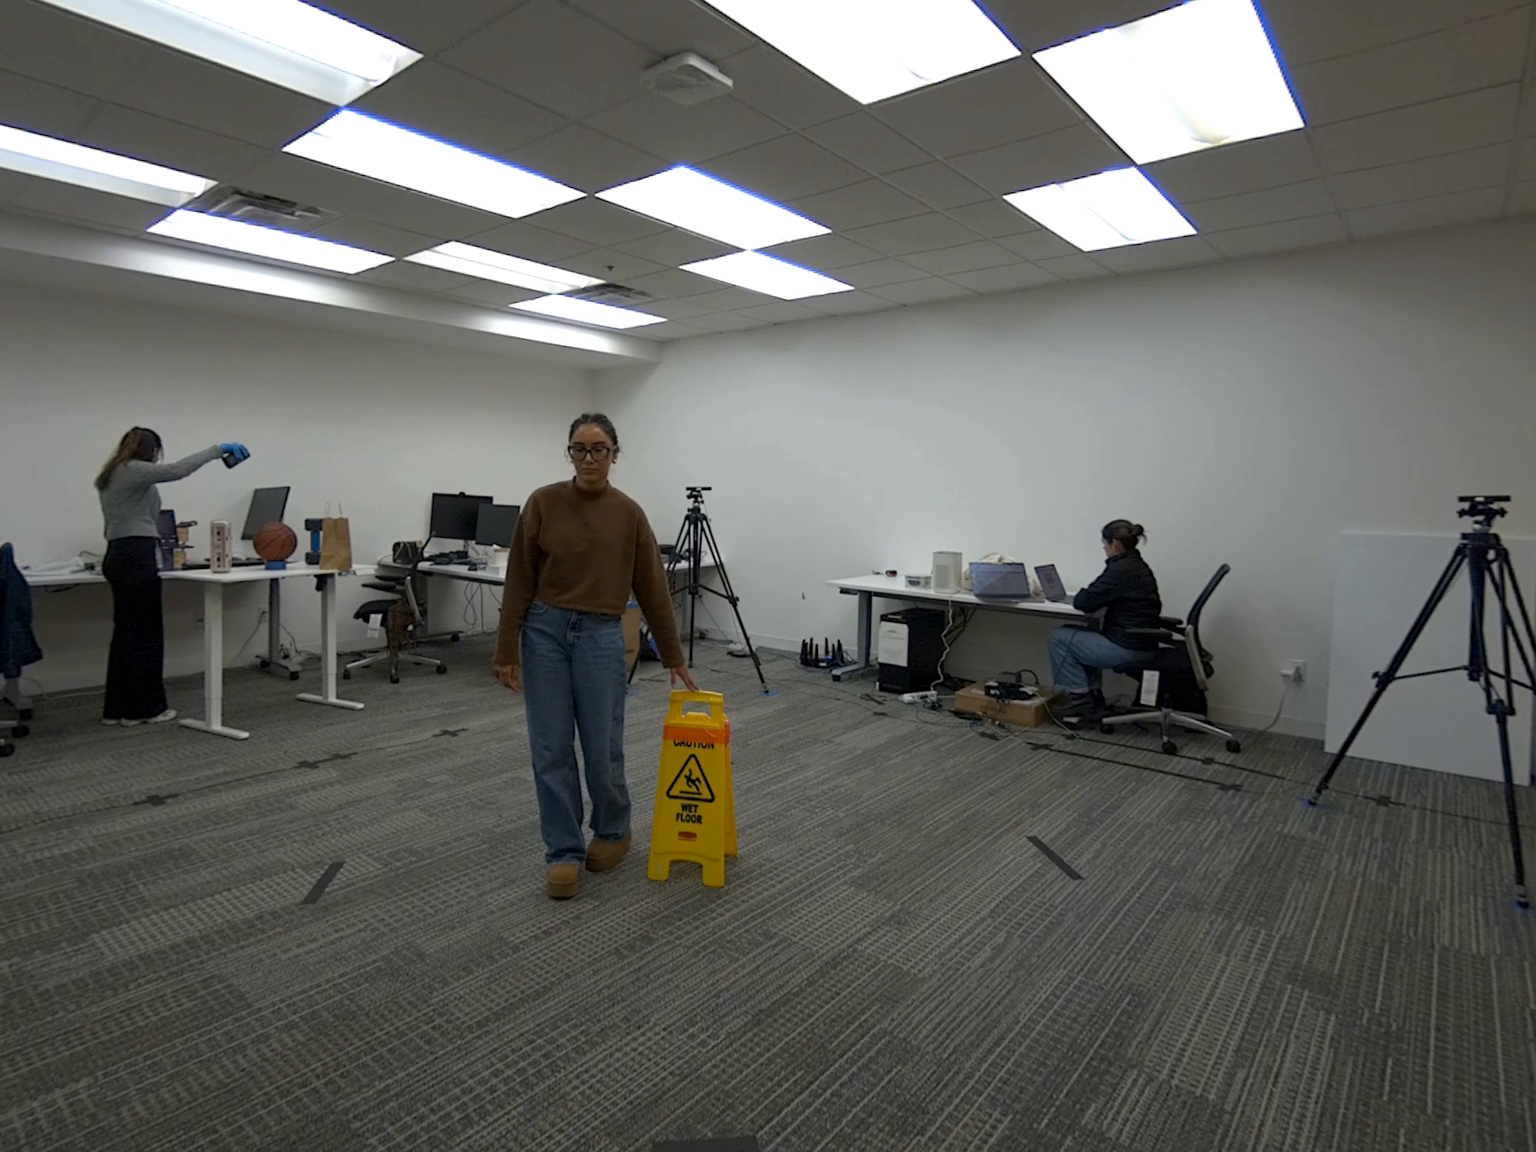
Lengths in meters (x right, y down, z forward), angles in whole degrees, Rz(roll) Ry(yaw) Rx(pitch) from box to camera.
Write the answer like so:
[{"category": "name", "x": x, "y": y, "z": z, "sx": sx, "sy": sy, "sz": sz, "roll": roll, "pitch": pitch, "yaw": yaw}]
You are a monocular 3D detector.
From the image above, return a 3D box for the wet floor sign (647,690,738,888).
[{"category": "wet floor sign", "x": -0.276, "y": 0.745, "z": 3.094, "sx": 0.285, "sy": 0.644, "sz": 0.287, "roll": 1, "pitch": 4, "yaw": 9}]
